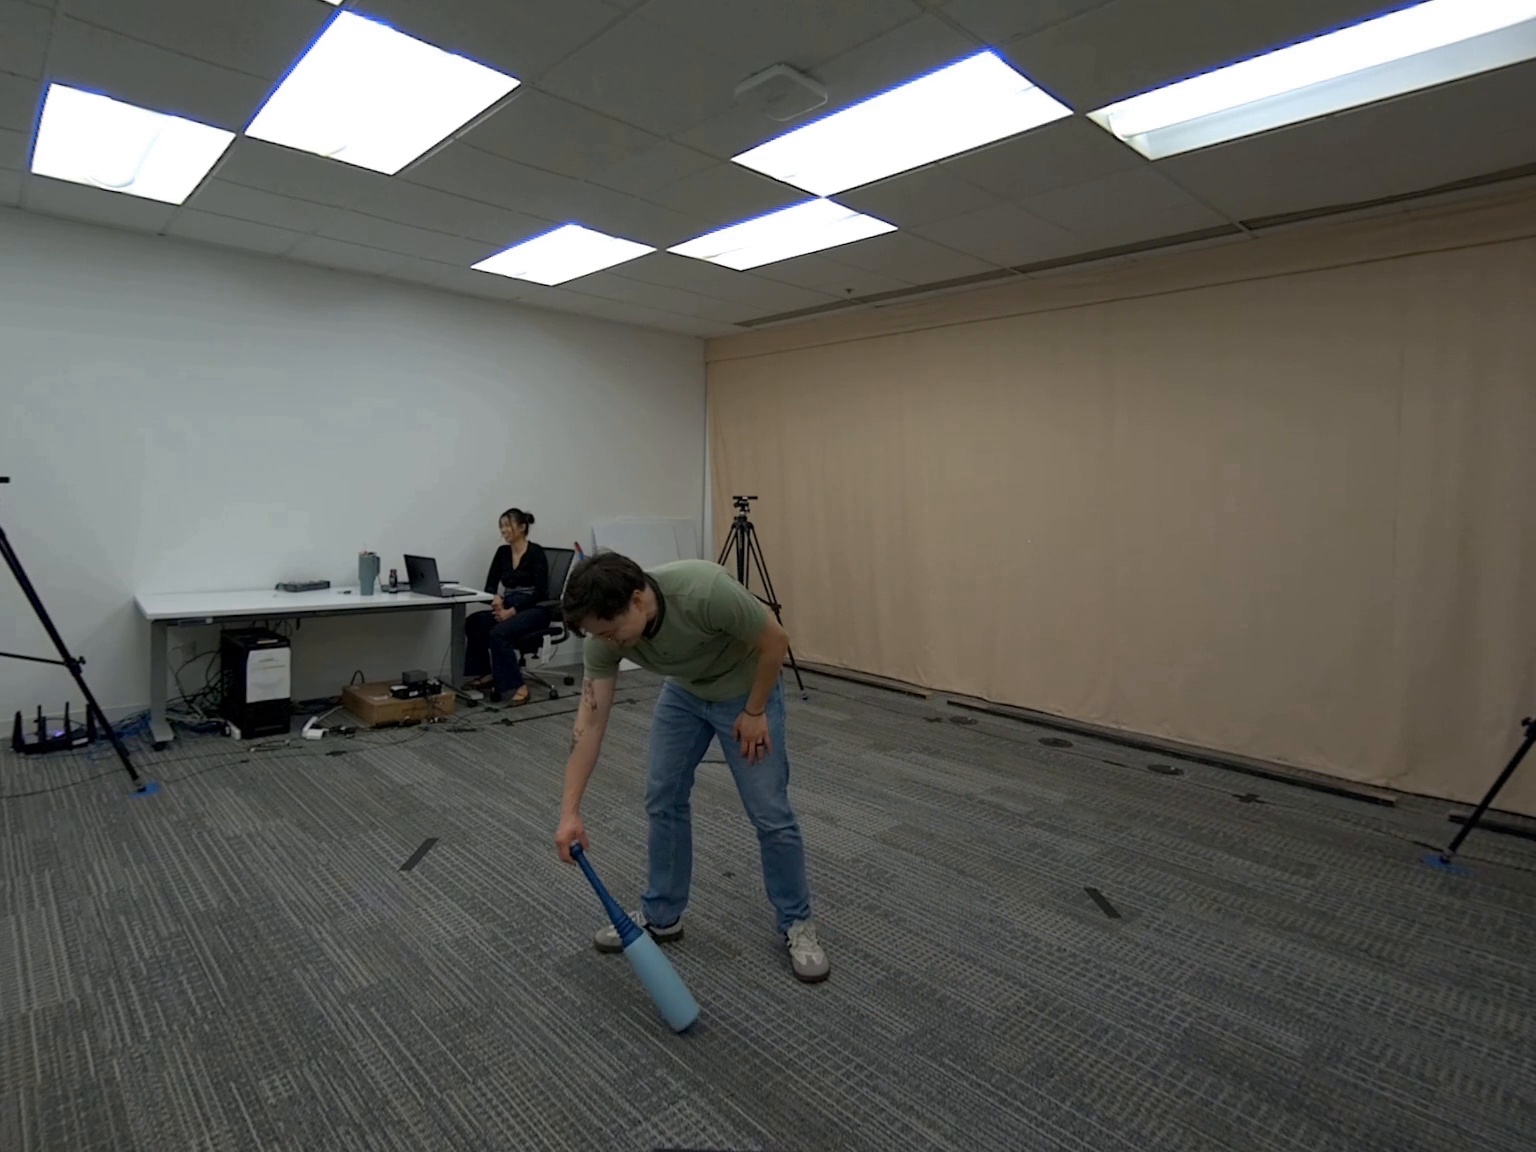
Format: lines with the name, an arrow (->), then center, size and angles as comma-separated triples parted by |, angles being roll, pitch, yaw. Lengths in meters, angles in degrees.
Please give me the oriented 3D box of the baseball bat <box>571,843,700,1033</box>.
baseball bat -> -0.374, 0.956, 2.239 | 0.089, 0.549, 0.088 | -36, -10, -8
